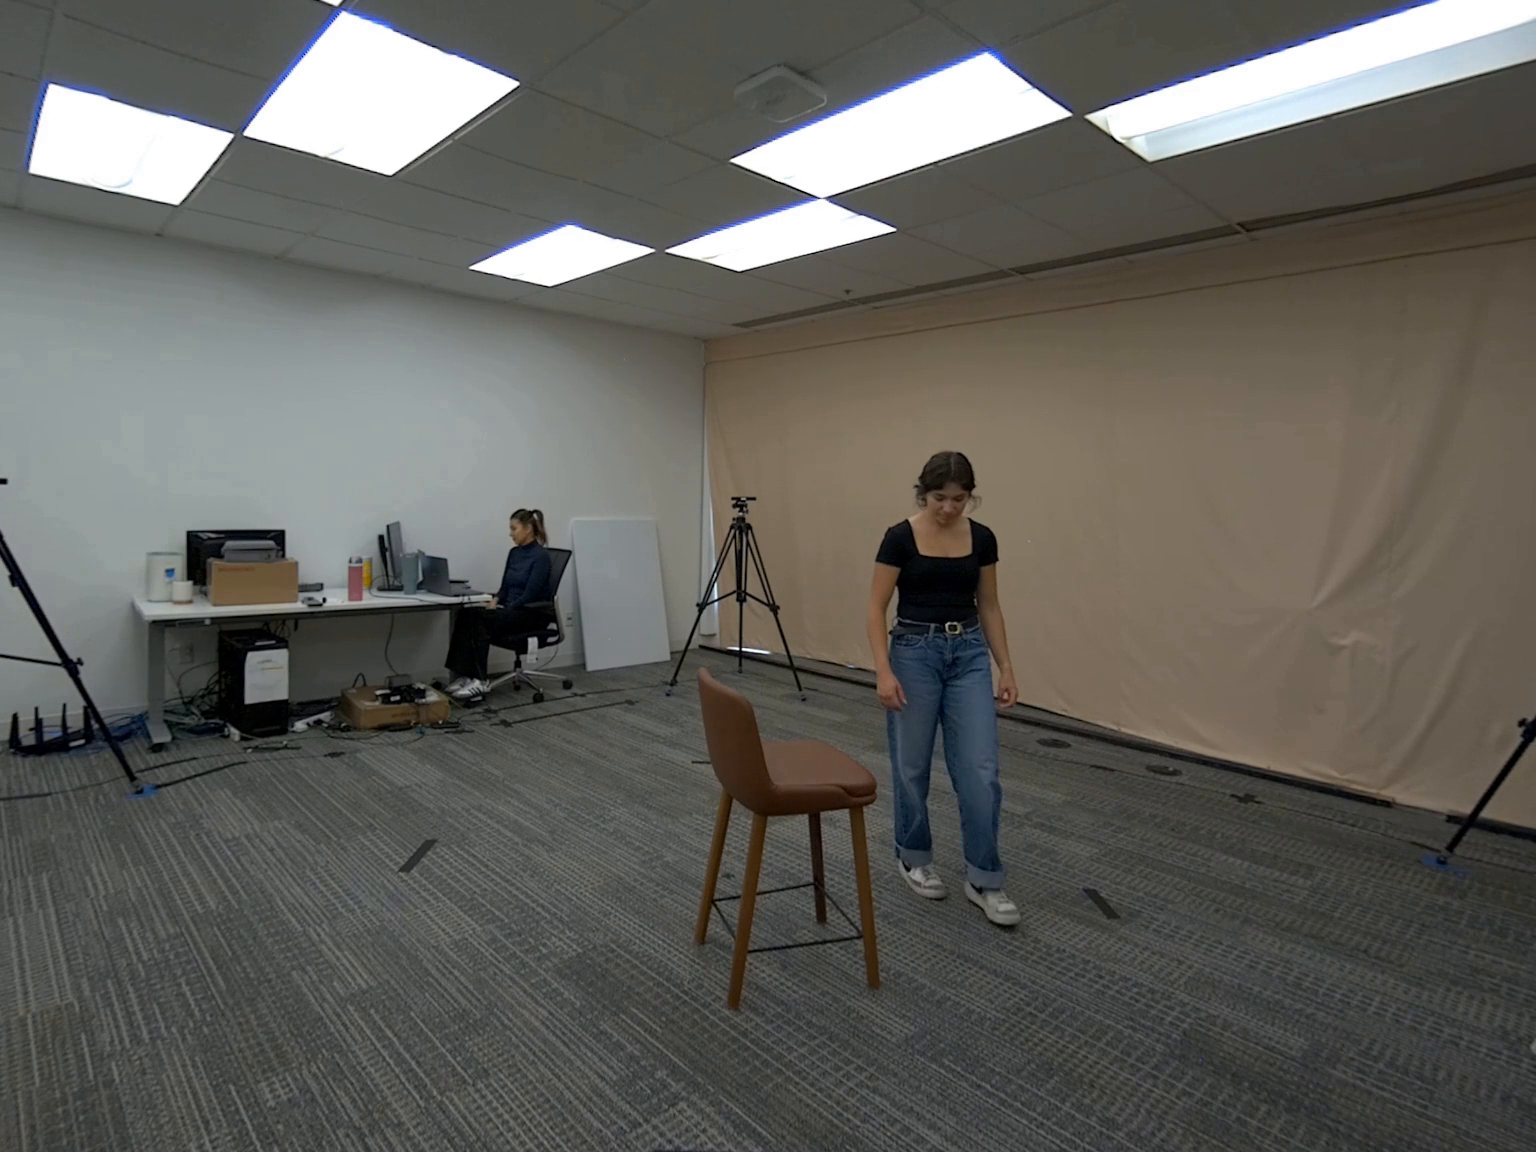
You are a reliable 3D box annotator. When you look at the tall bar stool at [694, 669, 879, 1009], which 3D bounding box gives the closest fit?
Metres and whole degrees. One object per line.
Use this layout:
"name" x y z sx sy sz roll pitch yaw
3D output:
"tall bar stool" 0.041 0.732 2.503 0.461 0.887 0.464 -2 4 -19
